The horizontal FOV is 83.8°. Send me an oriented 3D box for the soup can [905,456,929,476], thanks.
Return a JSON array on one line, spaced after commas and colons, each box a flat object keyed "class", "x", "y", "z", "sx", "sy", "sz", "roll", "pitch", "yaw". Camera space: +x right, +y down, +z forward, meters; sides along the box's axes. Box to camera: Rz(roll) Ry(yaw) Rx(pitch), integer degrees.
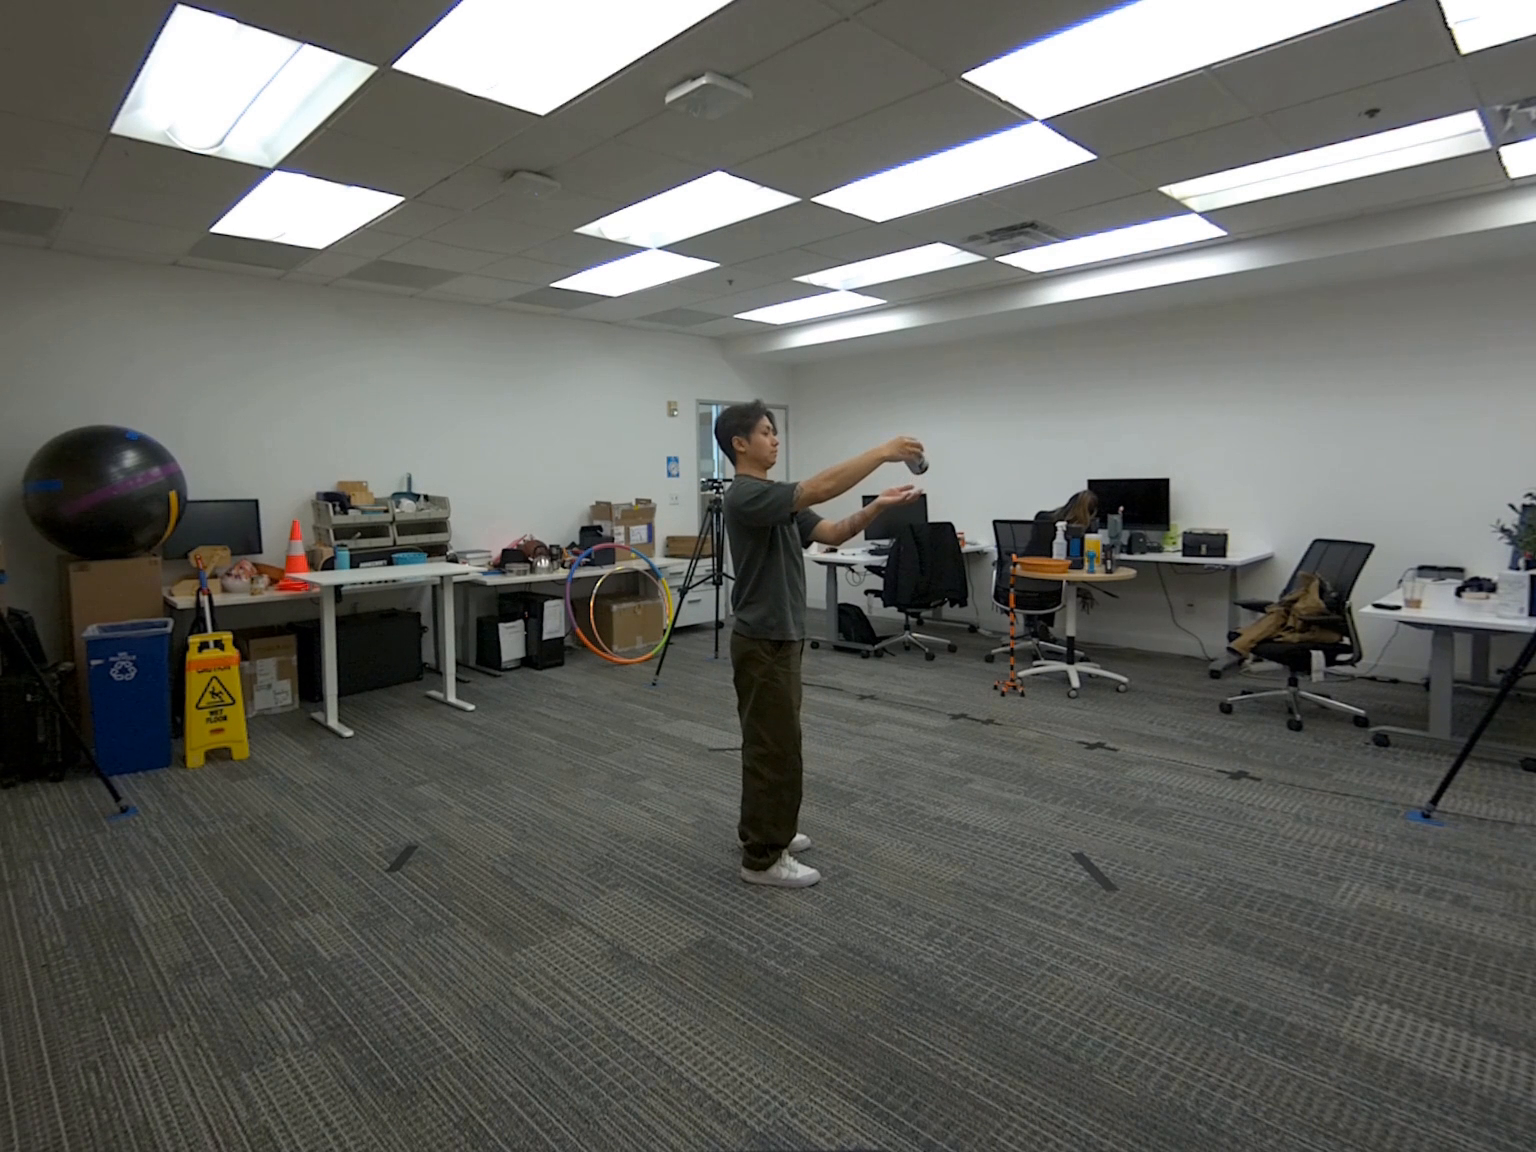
[{"class": "soup can", "x": 0.496, "y": -0.386, "z": 2.817, "sx": 0.069, "sy": 0.068, "sz": 0.117, "roll": 2, "pitch": -20, "yaw": 28}]
